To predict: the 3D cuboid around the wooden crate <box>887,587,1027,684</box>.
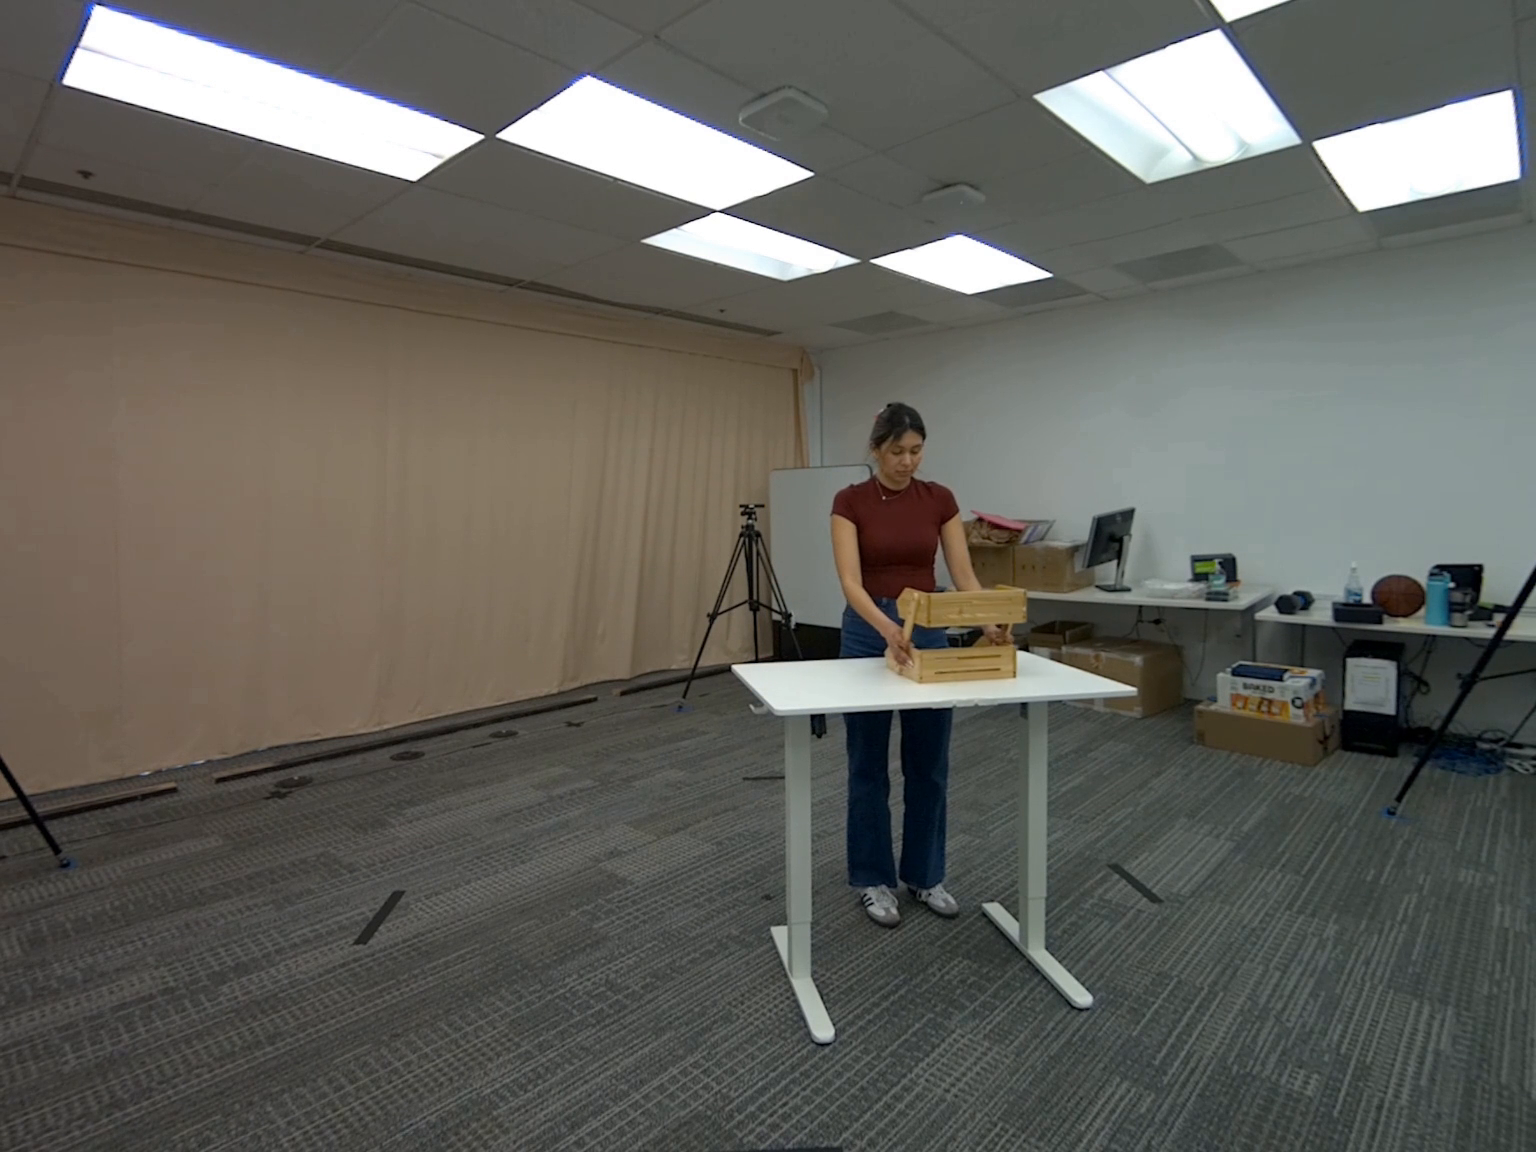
[{"bbox_3d":[0.545,0.160,2.488,0.320,0.272,0.307,-2,5,-13],"label":"wooden crate"}]
